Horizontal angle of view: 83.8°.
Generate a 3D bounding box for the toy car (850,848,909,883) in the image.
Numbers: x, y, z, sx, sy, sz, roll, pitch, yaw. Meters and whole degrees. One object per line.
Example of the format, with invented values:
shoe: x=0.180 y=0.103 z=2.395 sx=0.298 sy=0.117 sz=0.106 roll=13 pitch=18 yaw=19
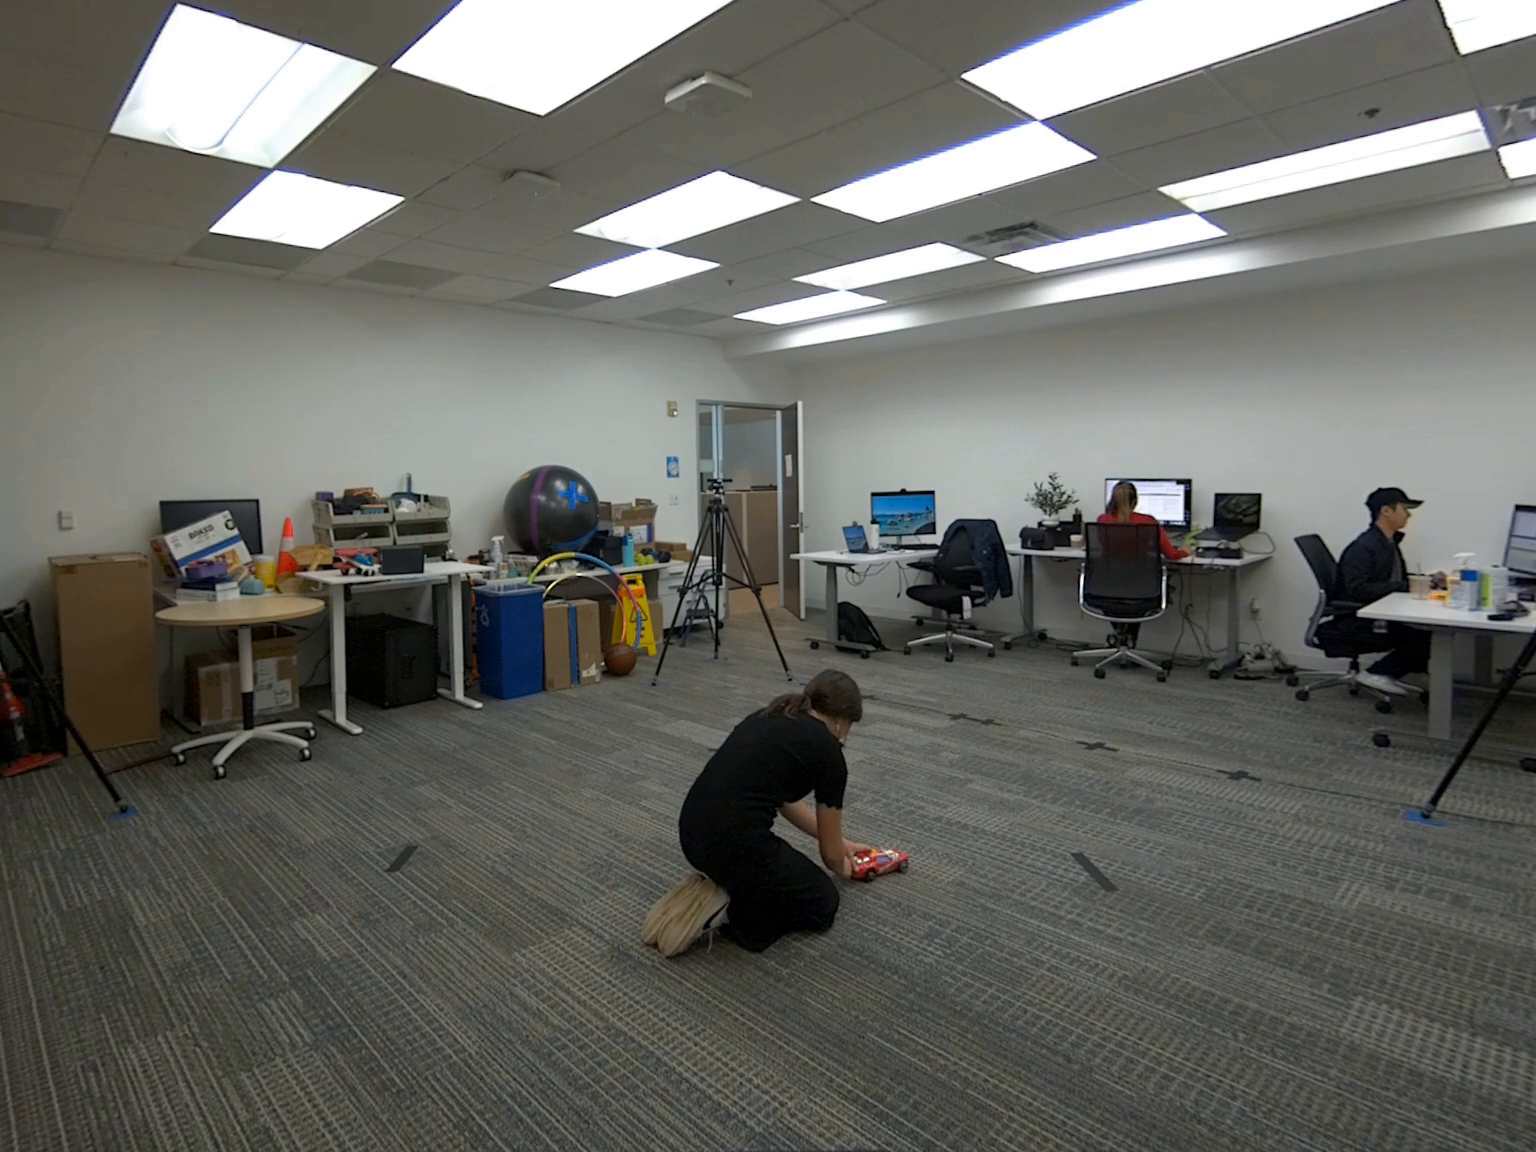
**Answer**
toy car: x=0.368 y=1.015 z=3.017 sx=0.248 sy=0.083 sz=0.134 roll=7 pitch=0 yaw=-29
